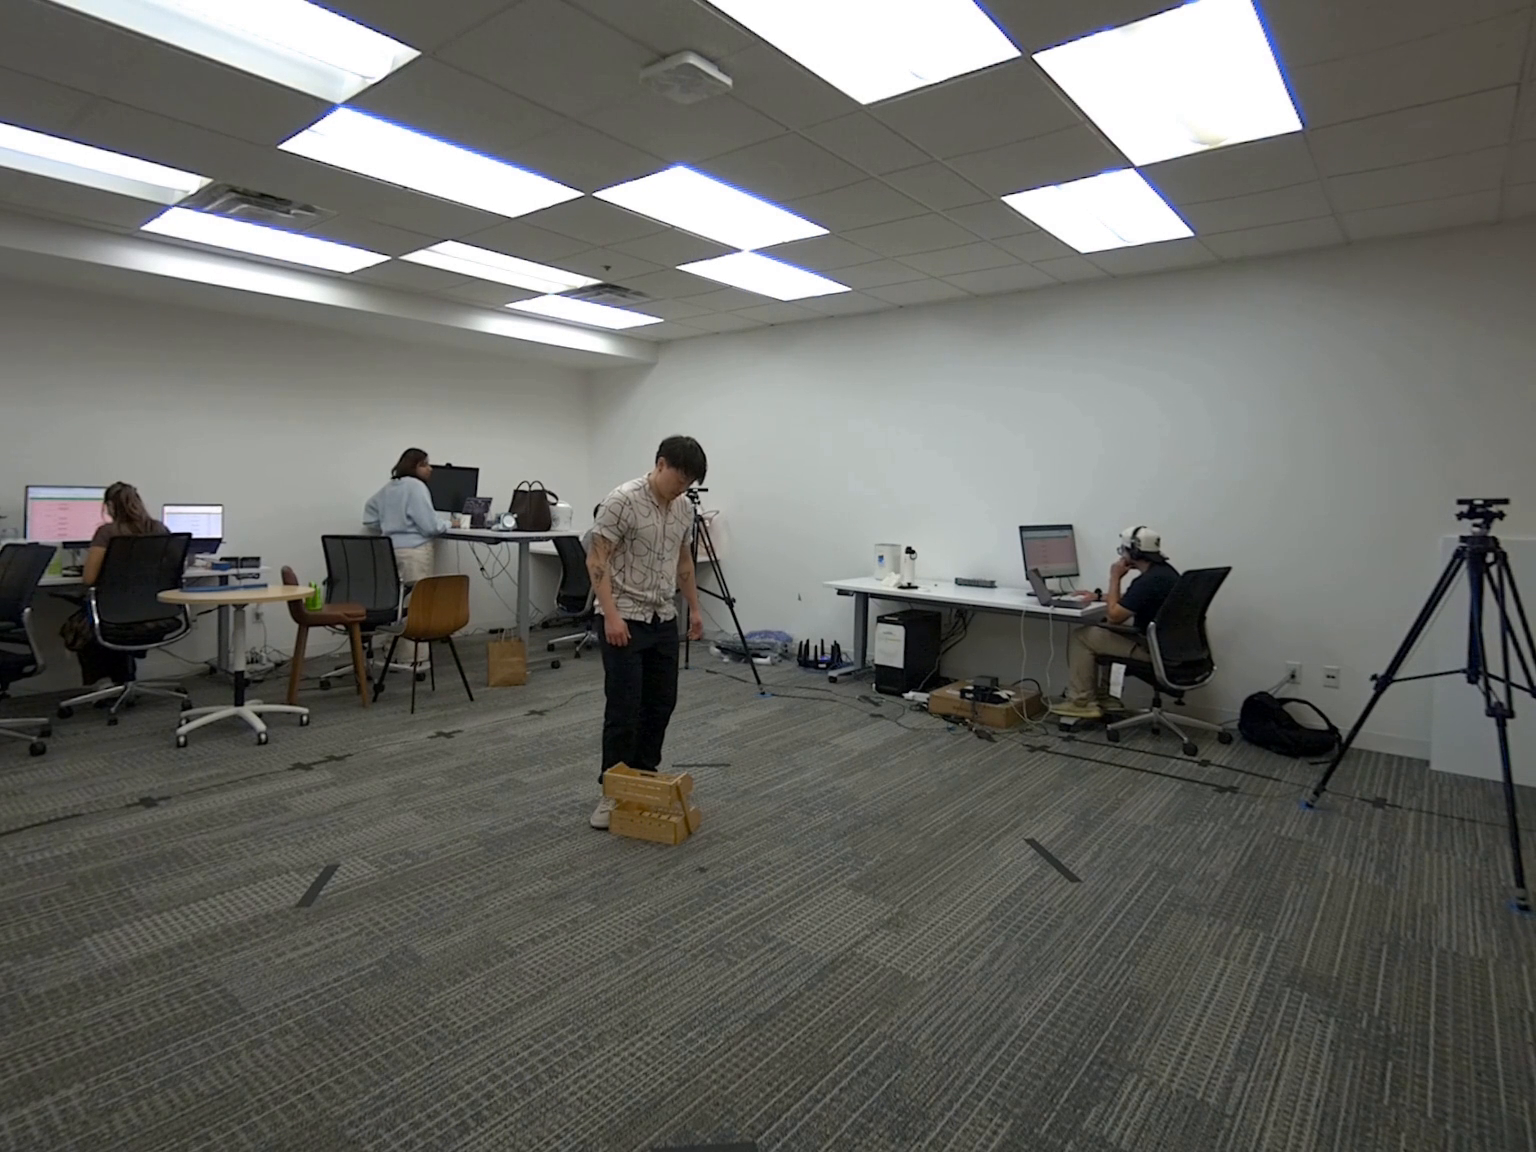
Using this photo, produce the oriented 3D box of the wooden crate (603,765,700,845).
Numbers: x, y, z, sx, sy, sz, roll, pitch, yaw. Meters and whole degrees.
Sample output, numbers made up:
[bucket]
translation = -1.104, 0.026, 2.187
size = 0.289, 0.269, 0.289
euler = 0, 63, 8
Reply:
[wooden crate]
translation = -0.471, 0.896, 3.456
size = 0.332, 0.272, 0.296
euler = 3, 5, 22
